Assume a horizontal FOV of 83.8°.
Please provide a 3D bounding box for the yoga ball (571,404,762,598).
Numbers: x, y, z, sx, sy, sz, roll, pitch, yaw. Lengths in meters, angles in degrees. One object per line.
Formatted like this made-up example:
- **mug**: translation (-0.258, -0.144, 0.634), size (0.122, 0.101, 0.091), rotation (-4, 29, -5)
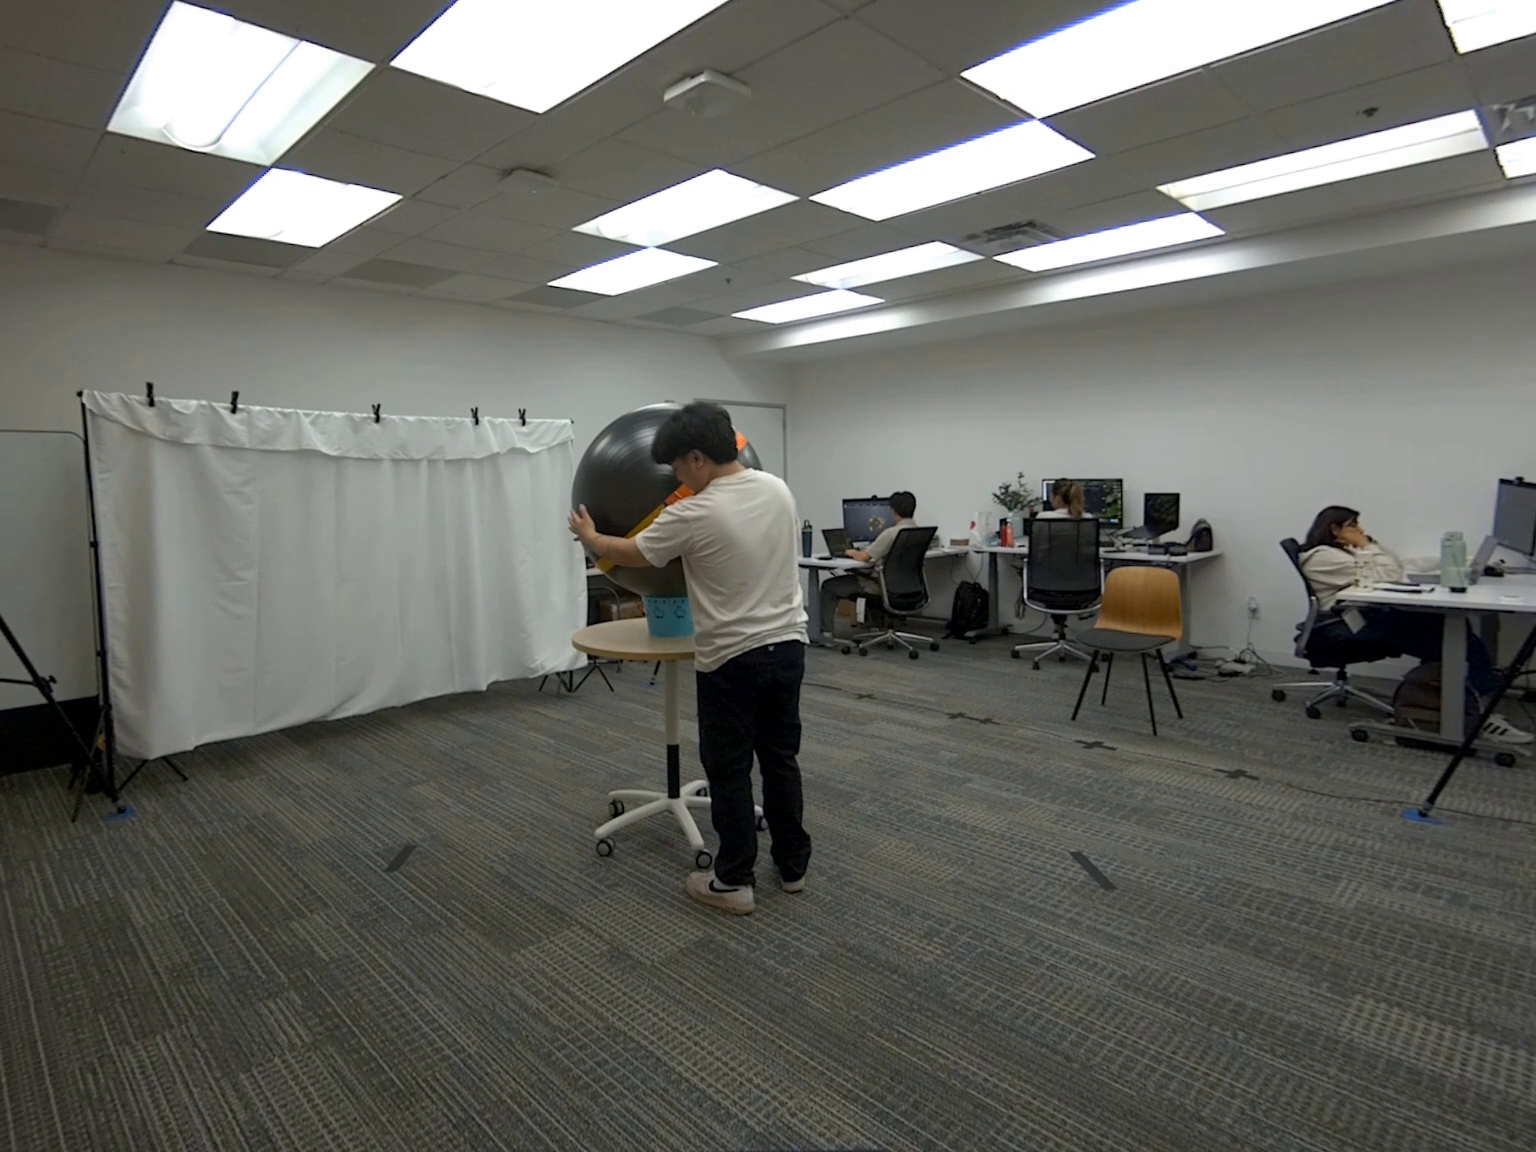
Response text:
- **yoga ball**: translation (-0.381, -0.288, 3.329), size (0.757, 0.755, 0.762), rotation (-1, 5, -2)
